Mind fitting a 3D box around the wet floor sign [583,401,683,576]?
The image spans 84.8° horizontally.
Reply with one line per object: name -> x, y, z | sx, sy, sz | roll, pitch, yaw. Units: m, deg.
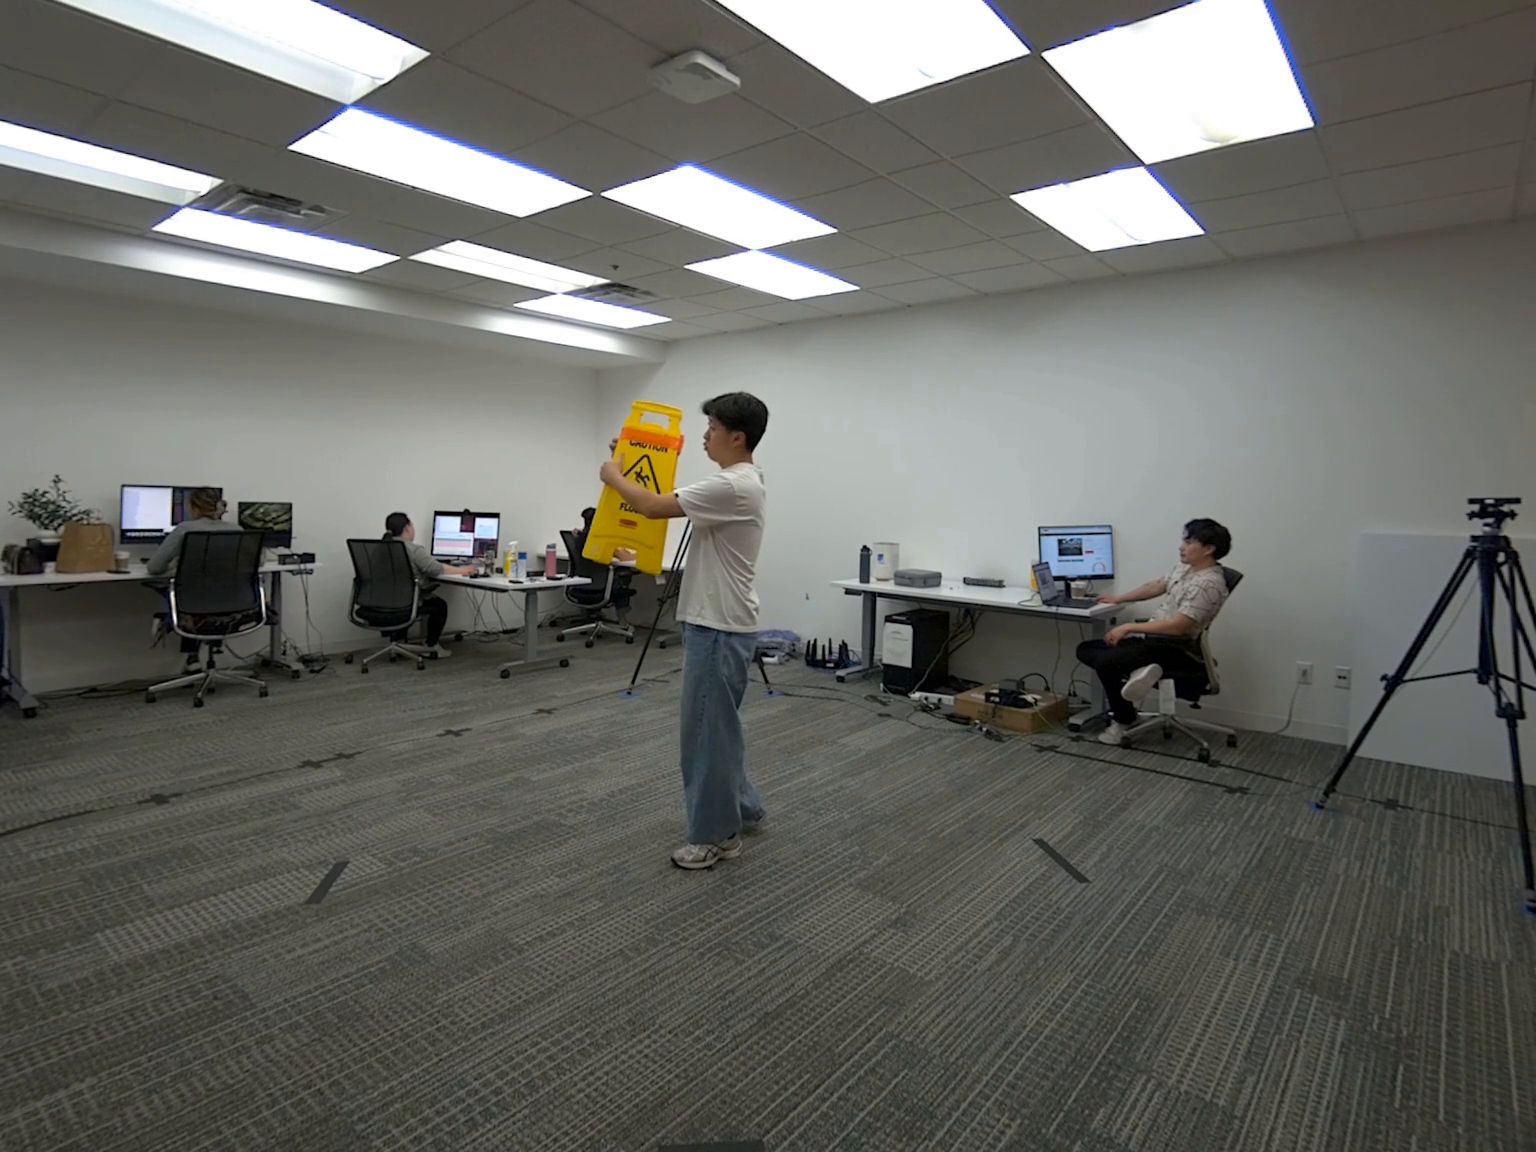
wet floor sign -> -0.513, -0.361, 3.314 | 0.282, 0.648, 0.289 | 12, -4, 0
